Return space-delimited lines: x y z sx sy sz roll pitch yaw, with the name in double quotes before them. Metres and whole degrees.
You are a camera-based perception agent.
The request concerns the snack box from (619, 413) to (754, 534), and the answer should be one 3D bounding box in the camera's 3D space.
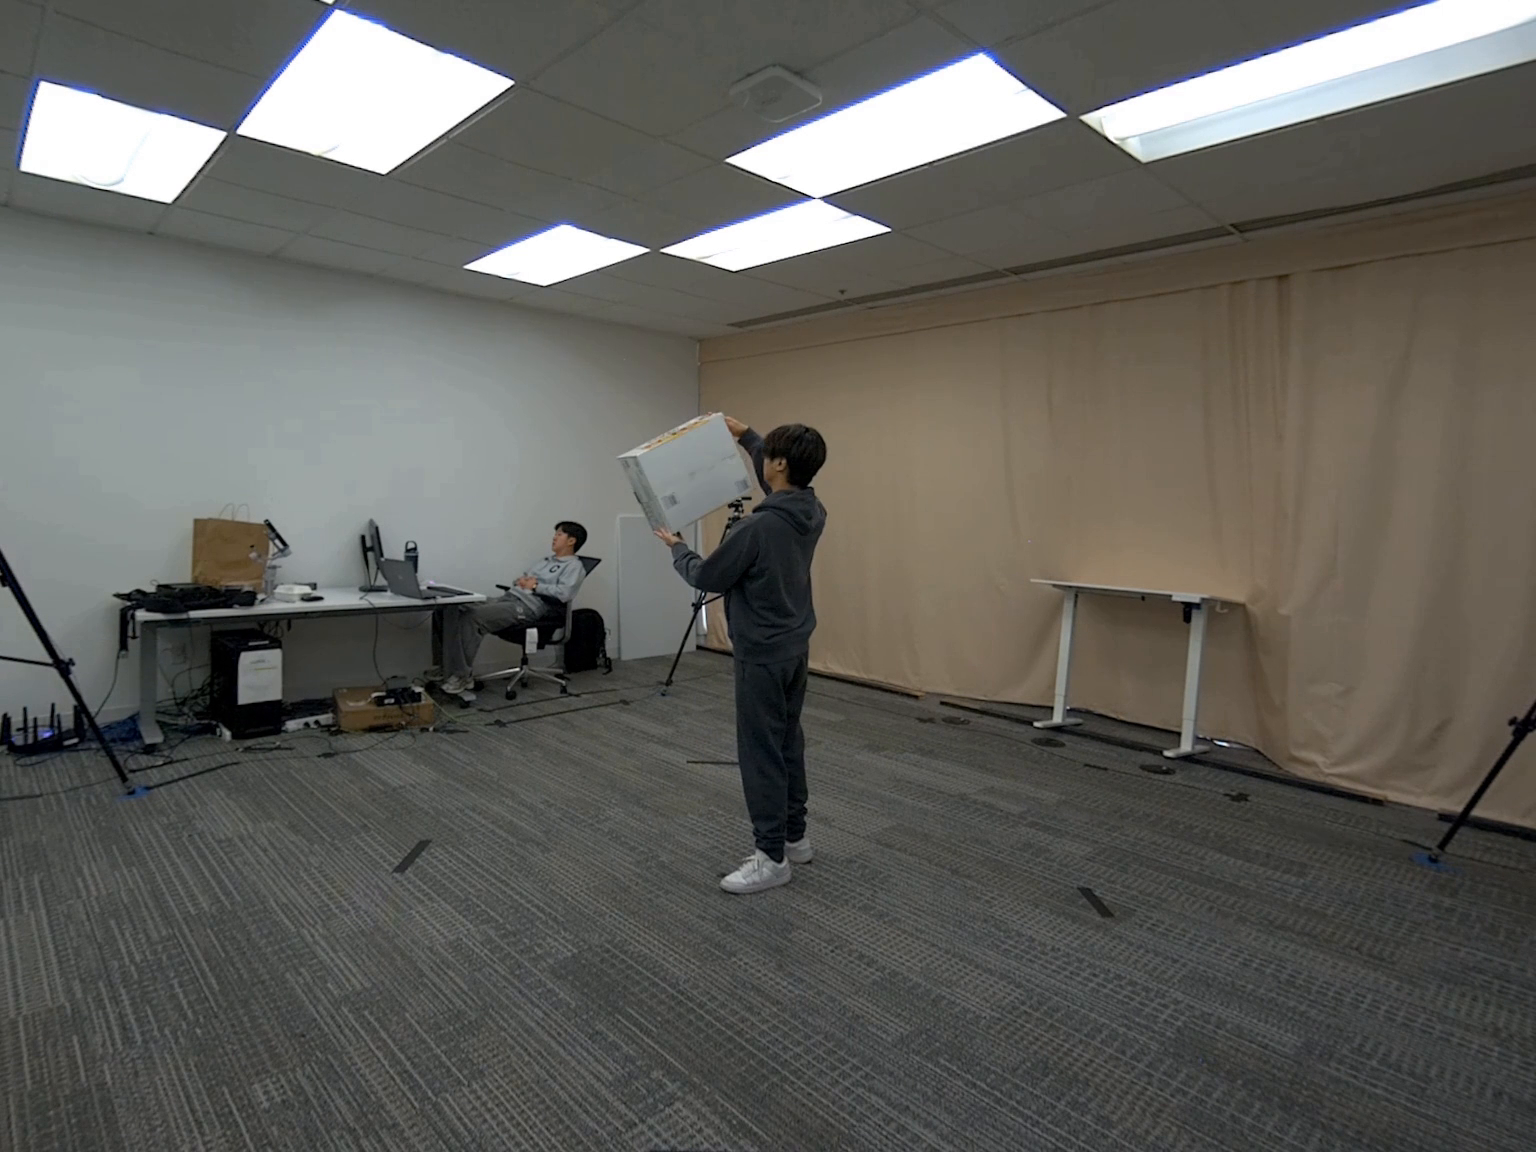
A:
"snack box" -0.330 -0.401 3.330 0.402 0.335 0.210 -31 16 -24
